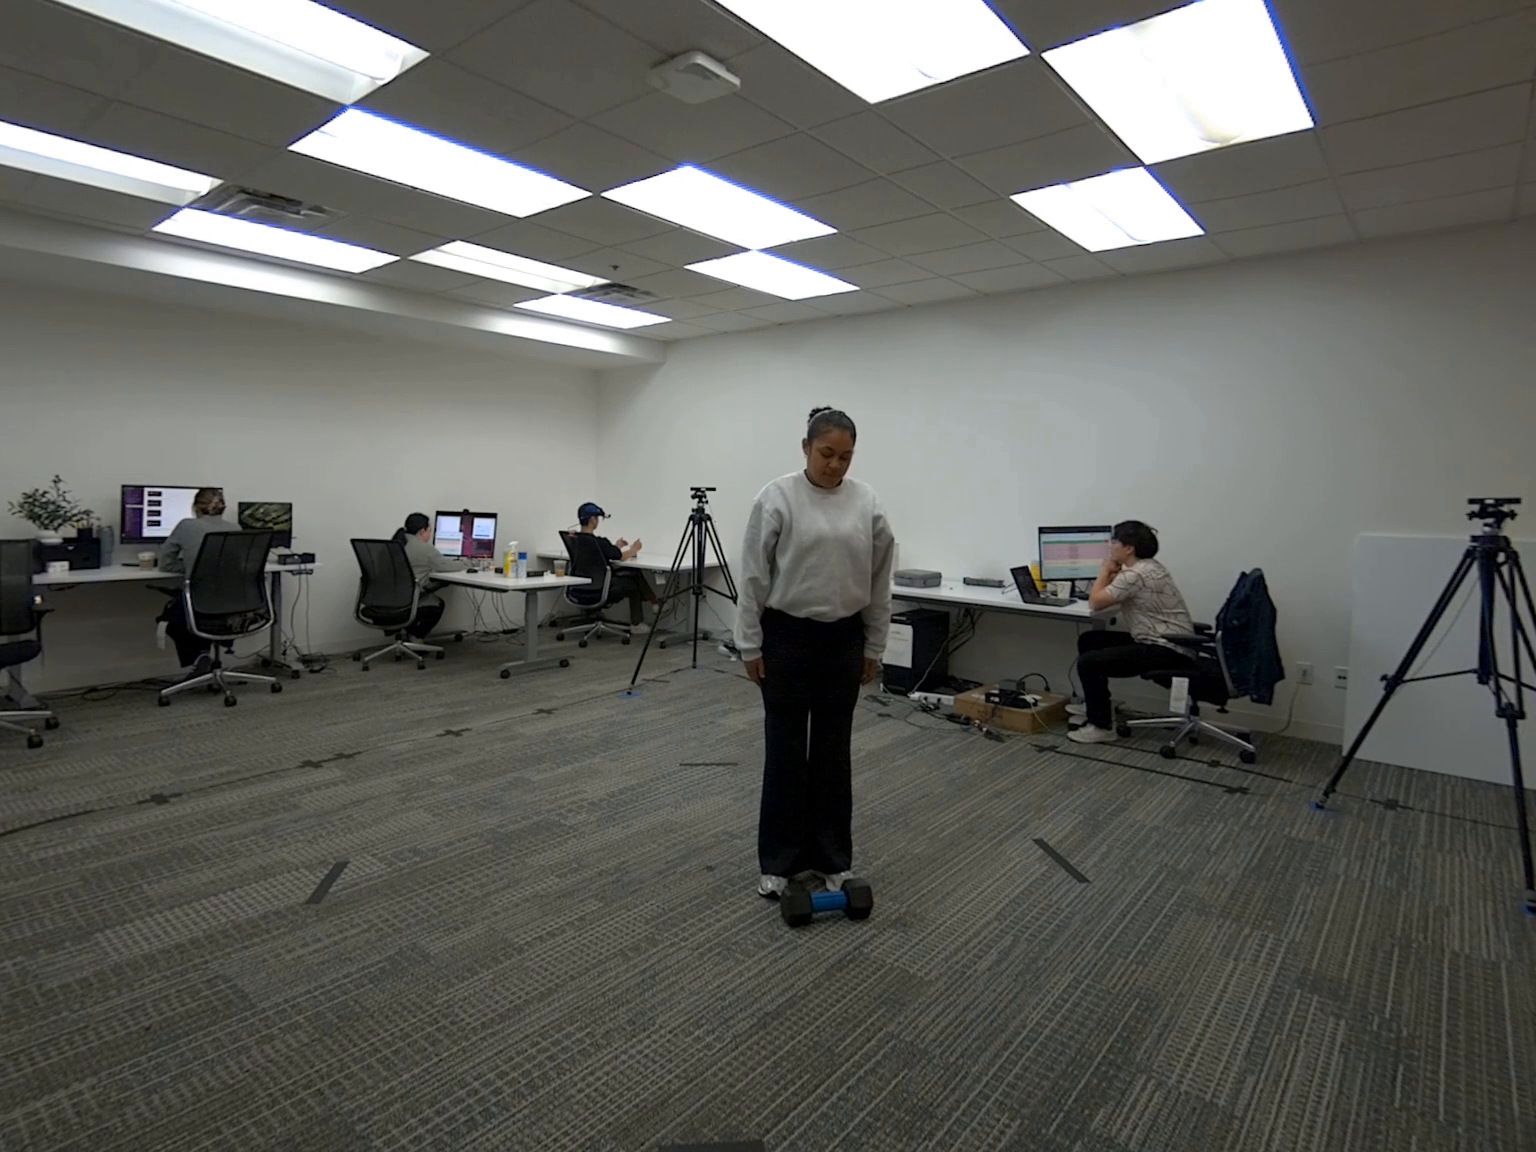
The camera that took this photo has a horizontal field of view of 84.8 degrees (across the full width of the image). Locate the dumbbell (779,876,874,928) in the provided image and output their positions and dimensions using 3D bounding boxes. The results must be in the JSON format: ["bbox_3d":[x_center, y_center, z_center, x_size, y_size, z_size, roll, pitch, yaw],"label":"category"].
[{"bbox_3d":[0.186,1.052,2.763,0.289,0.108,0.125,0,6,-16],"label":"dumbbell"}]
